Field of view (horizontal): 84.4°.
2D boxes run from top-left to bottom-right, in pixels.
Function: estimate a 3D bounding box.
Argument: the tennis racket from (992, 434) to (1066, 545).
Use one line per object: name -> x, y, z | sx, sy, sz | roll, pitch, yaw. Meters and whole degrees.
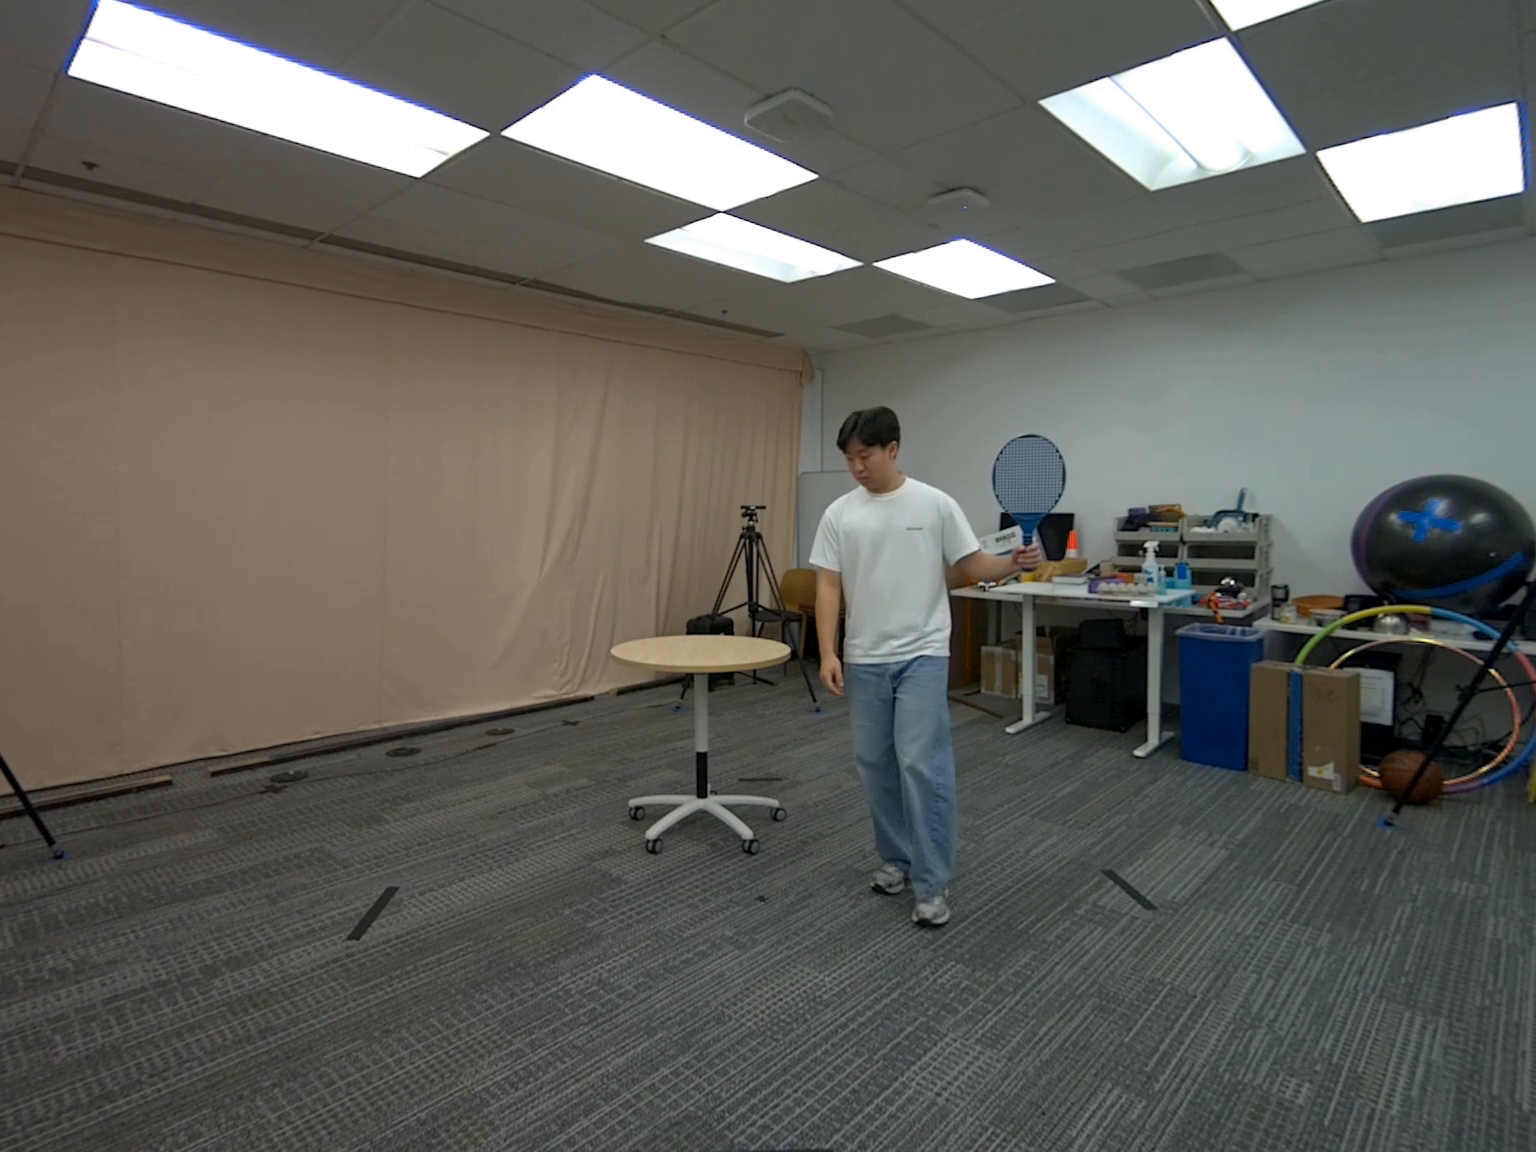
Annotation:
tennis racket -> 0.811, -0.224, 2.598 | 0.218, 0.429, 0.031 | -1, 12, 18
